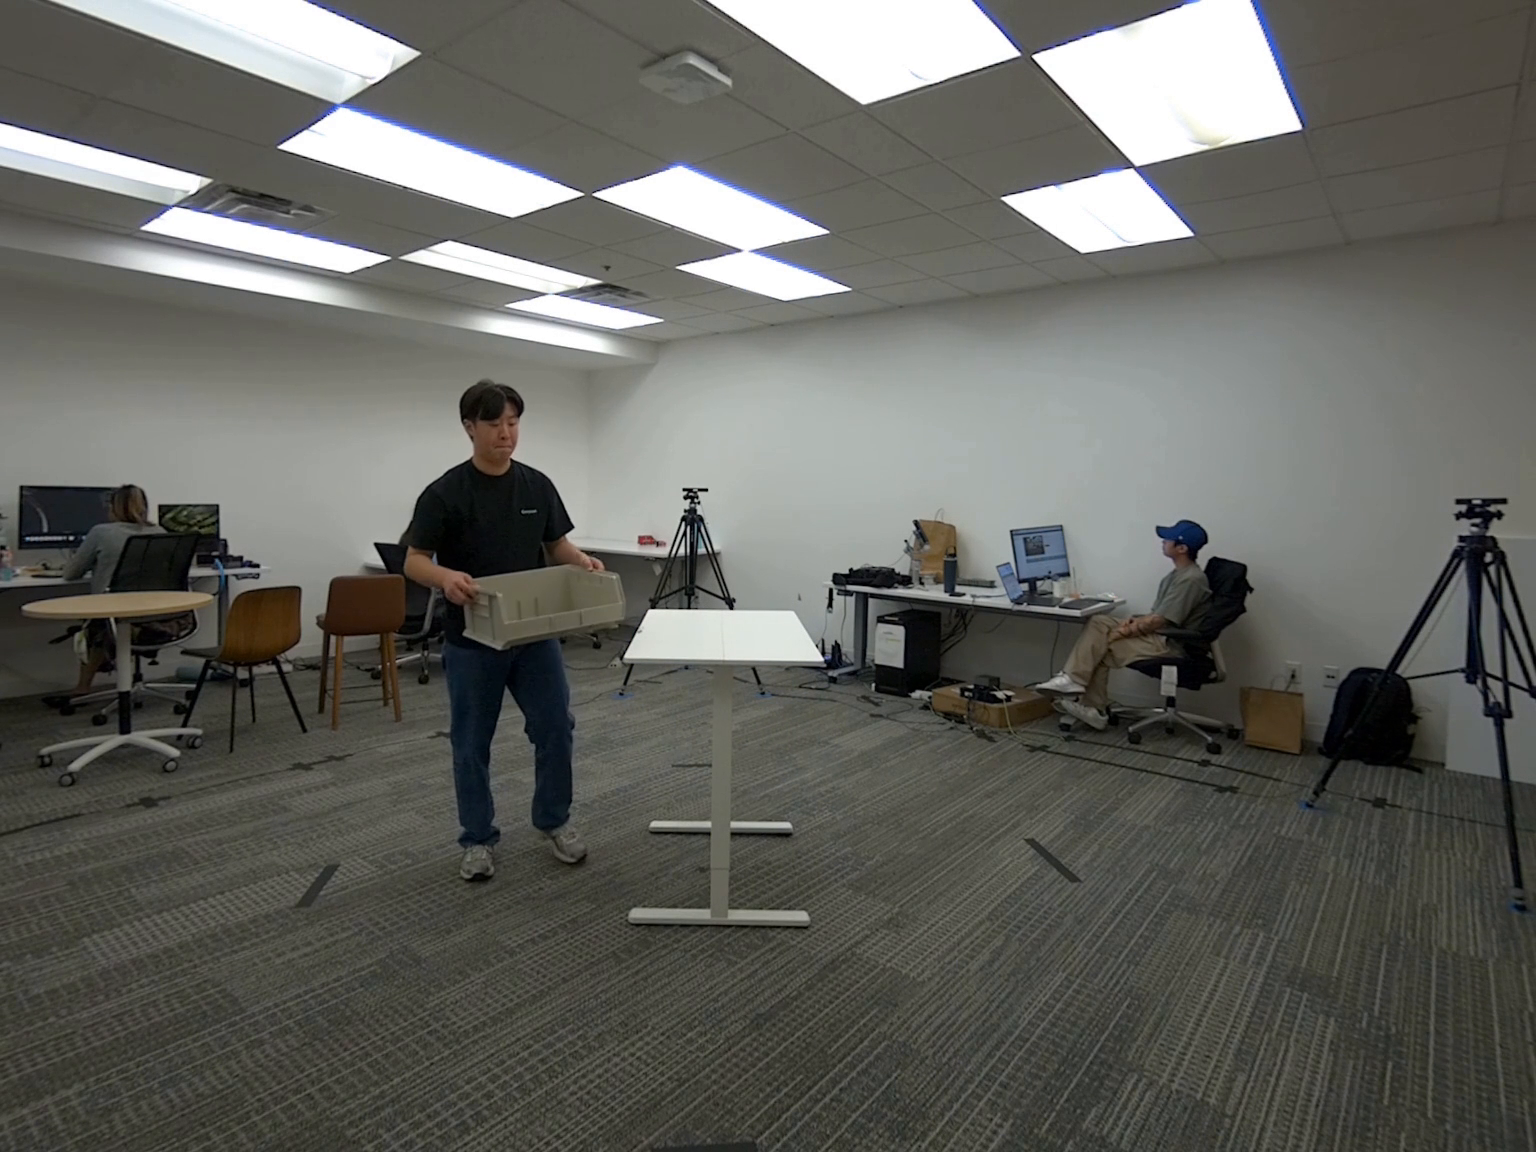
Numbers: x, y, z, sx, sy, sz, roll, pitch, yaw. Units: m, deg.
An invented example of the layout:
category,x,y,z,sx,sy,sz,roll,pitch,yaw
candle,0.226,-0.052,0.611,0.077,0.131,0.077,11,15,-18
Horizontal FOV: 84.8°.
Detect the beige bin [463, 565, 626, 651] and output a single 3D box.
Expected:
category,x,y,z,sx,sy,sz,roll,pitch,yaw
beige bin,-0.751,0.101,2.781,0.411,0.188,0.390,-9,10,-37
